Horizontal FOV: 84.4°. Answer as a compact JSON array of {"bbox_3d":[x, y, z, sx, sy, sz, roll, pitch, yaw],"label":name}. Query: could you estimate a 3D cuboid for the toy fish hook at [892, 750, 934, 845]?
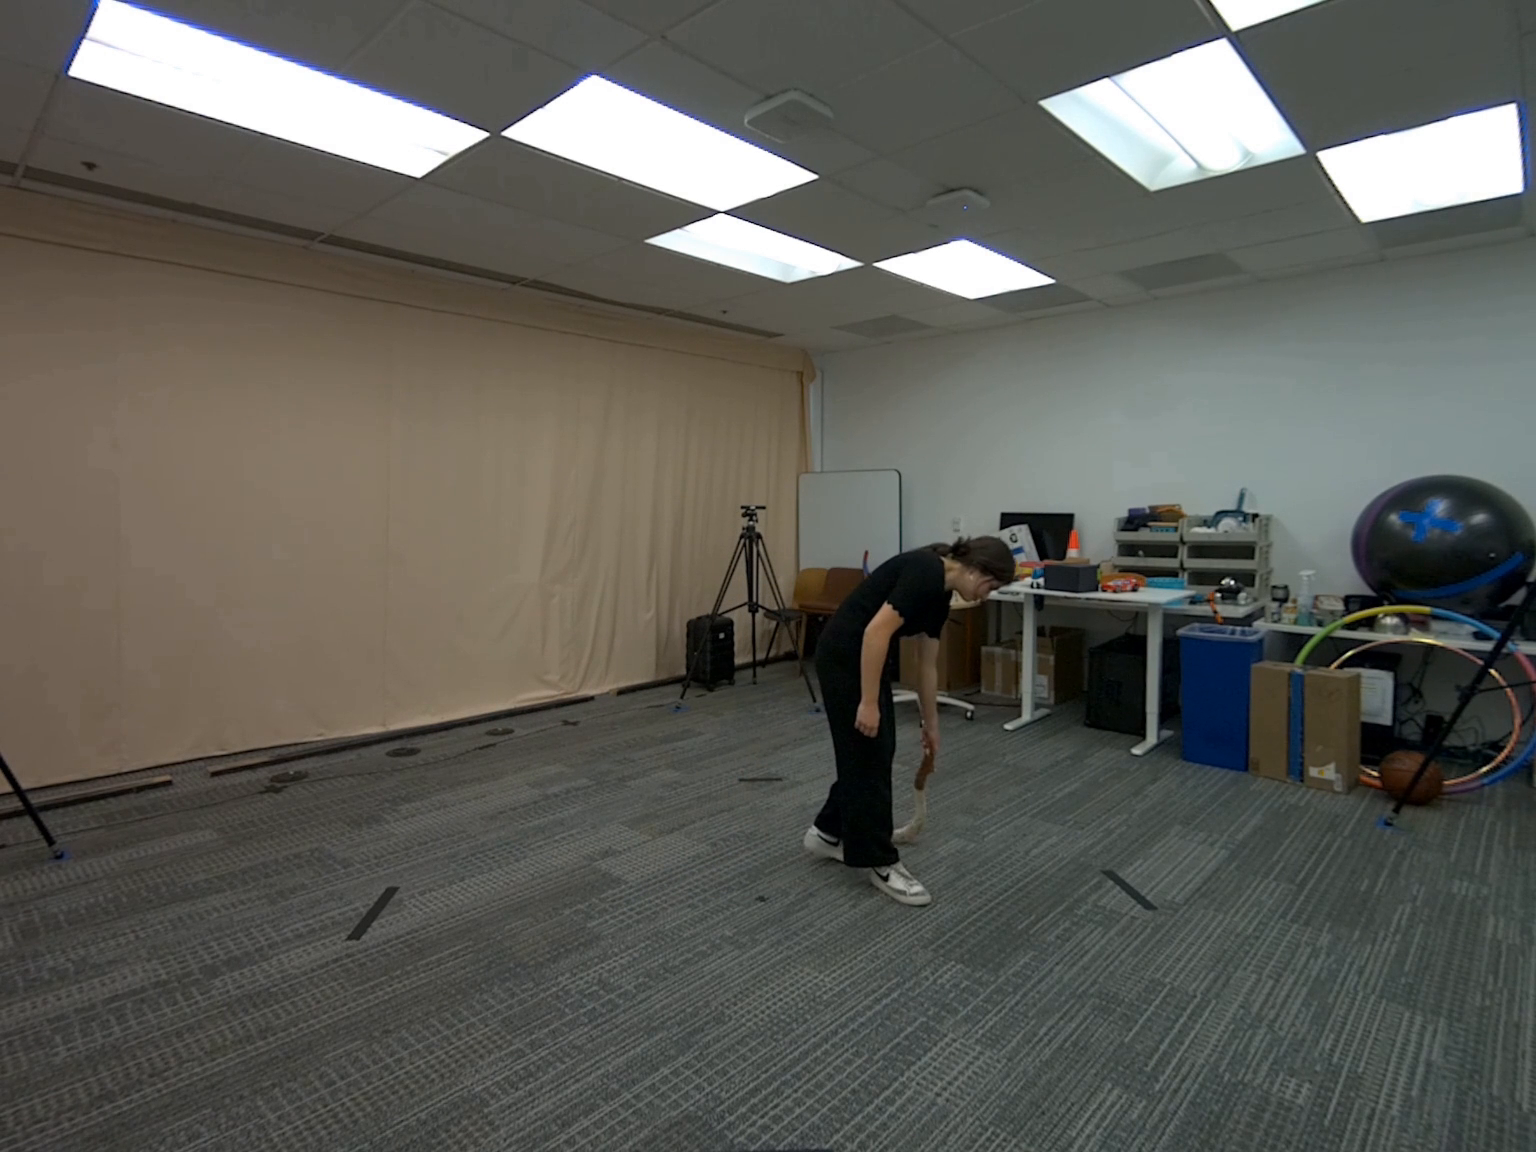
[{"bbox_3d":[0.542,0.882,3.355,0.221,0.500,0.049,0,28,-14],"label":"toy fish hook"}]
